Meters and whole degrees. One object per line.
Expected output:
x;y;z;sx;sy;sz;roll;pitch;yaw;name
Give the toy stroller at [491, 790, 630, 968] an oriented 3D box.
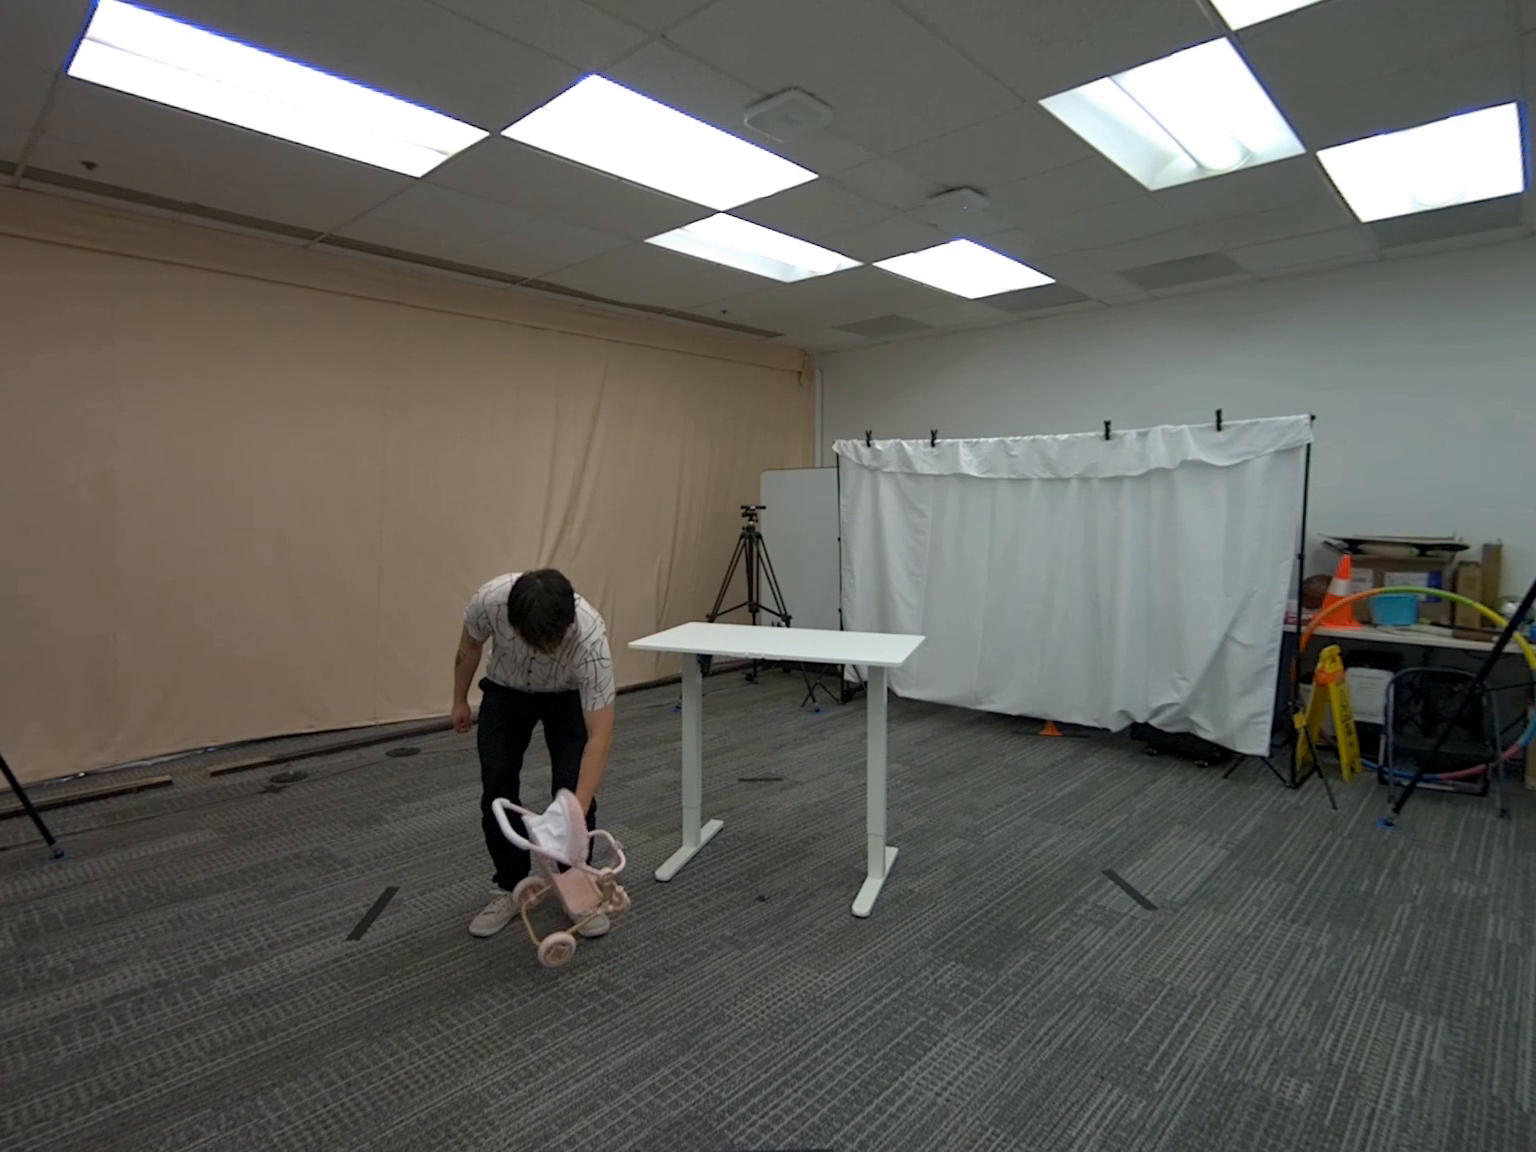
-0.574;0.852;2.463;0.335;0.527;0.291;-14;26;-24;toy stroller
